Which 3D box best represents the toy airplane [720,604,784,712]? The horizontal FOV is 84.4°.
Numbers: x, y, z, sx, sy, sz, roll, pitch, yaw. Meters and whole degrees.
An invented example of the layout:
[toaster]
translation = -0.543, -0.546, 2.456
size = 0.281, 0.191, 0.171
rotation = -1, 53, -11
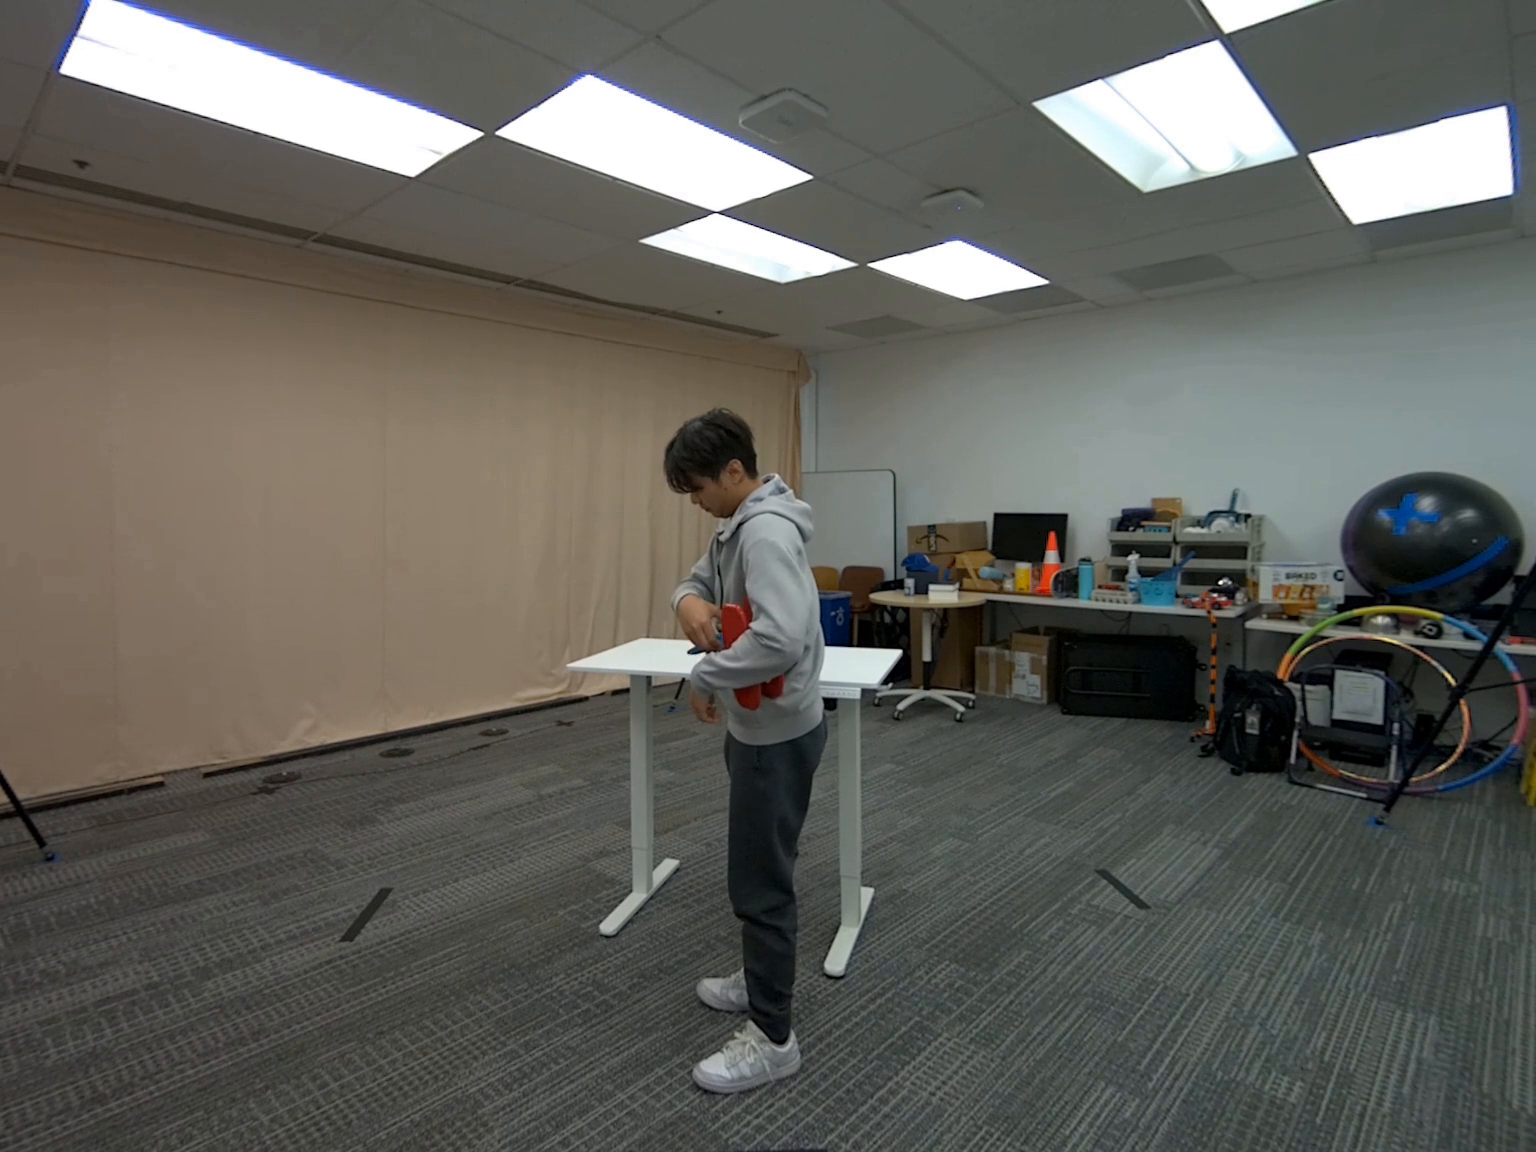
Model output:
[toy airplane]
translation = -0.036, 0.196, 1.950
size = 0.252, 0.251, 0.161
rotation = -29, 39, 4
